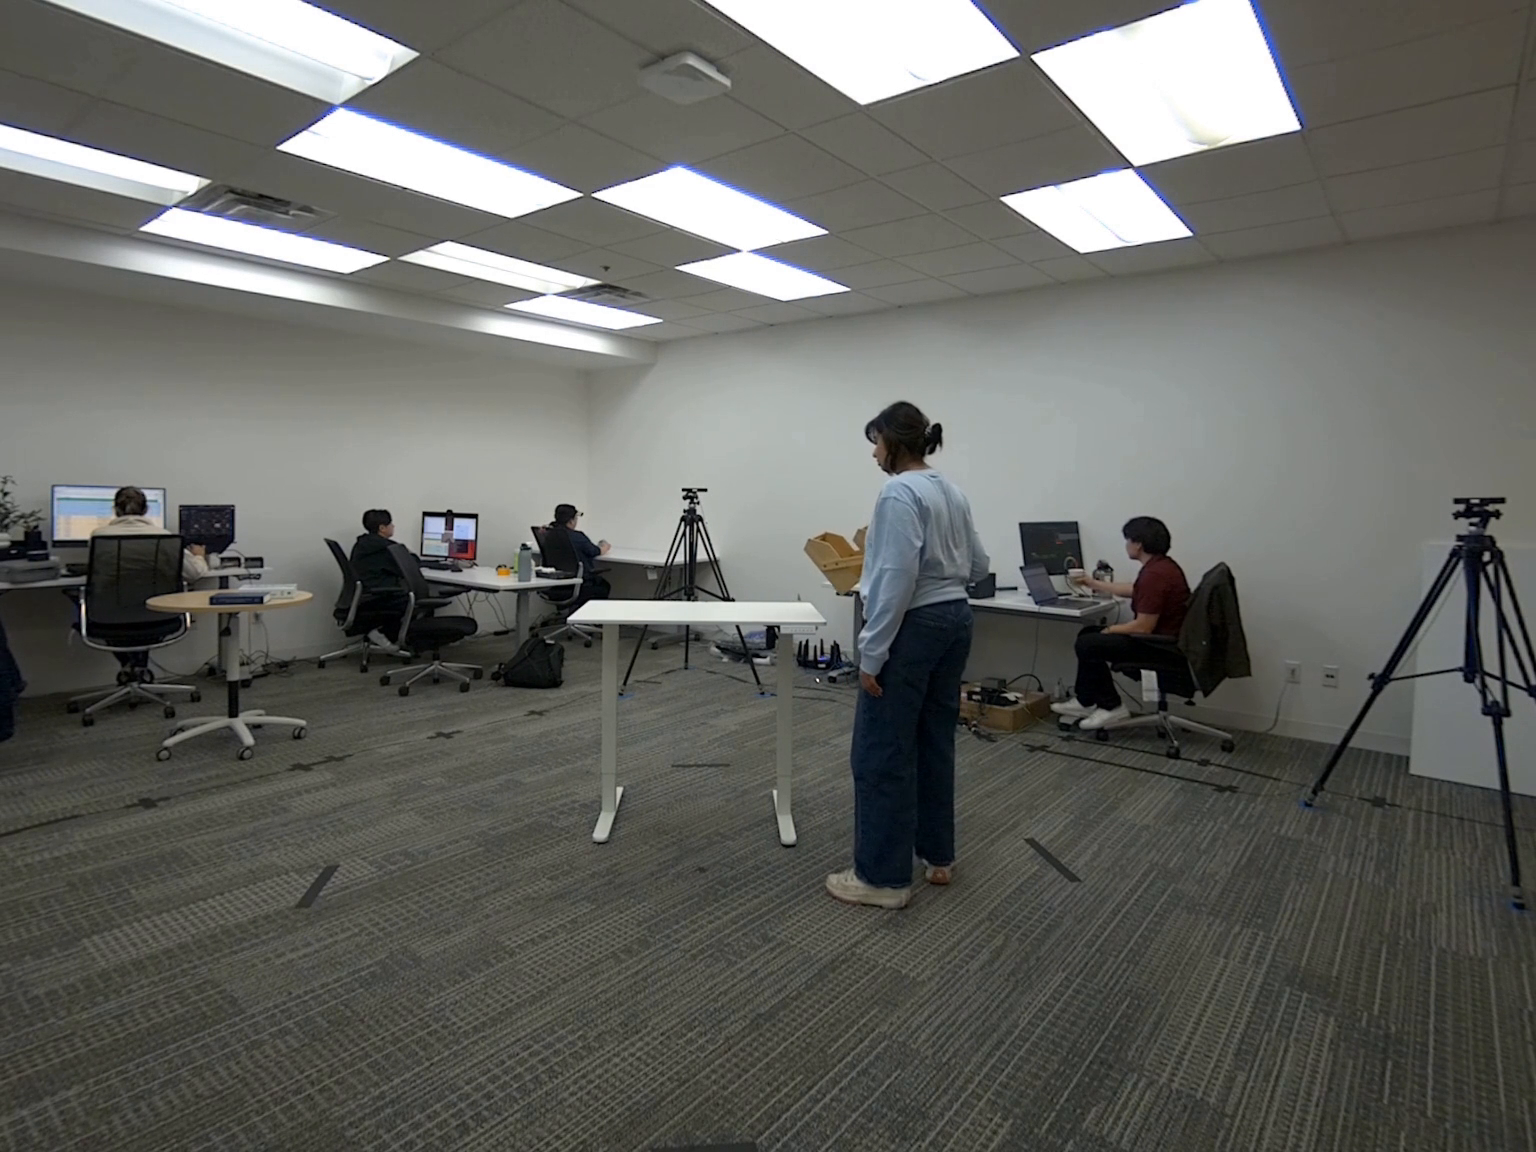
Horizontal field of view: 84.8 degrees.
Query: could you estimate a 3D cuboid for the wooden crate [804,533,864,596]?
[{"bbox_3d":[0.352,-0.105,3.367,0.274,0.305,0.320,-40,-6,18],"label":"wooden crate"}]
